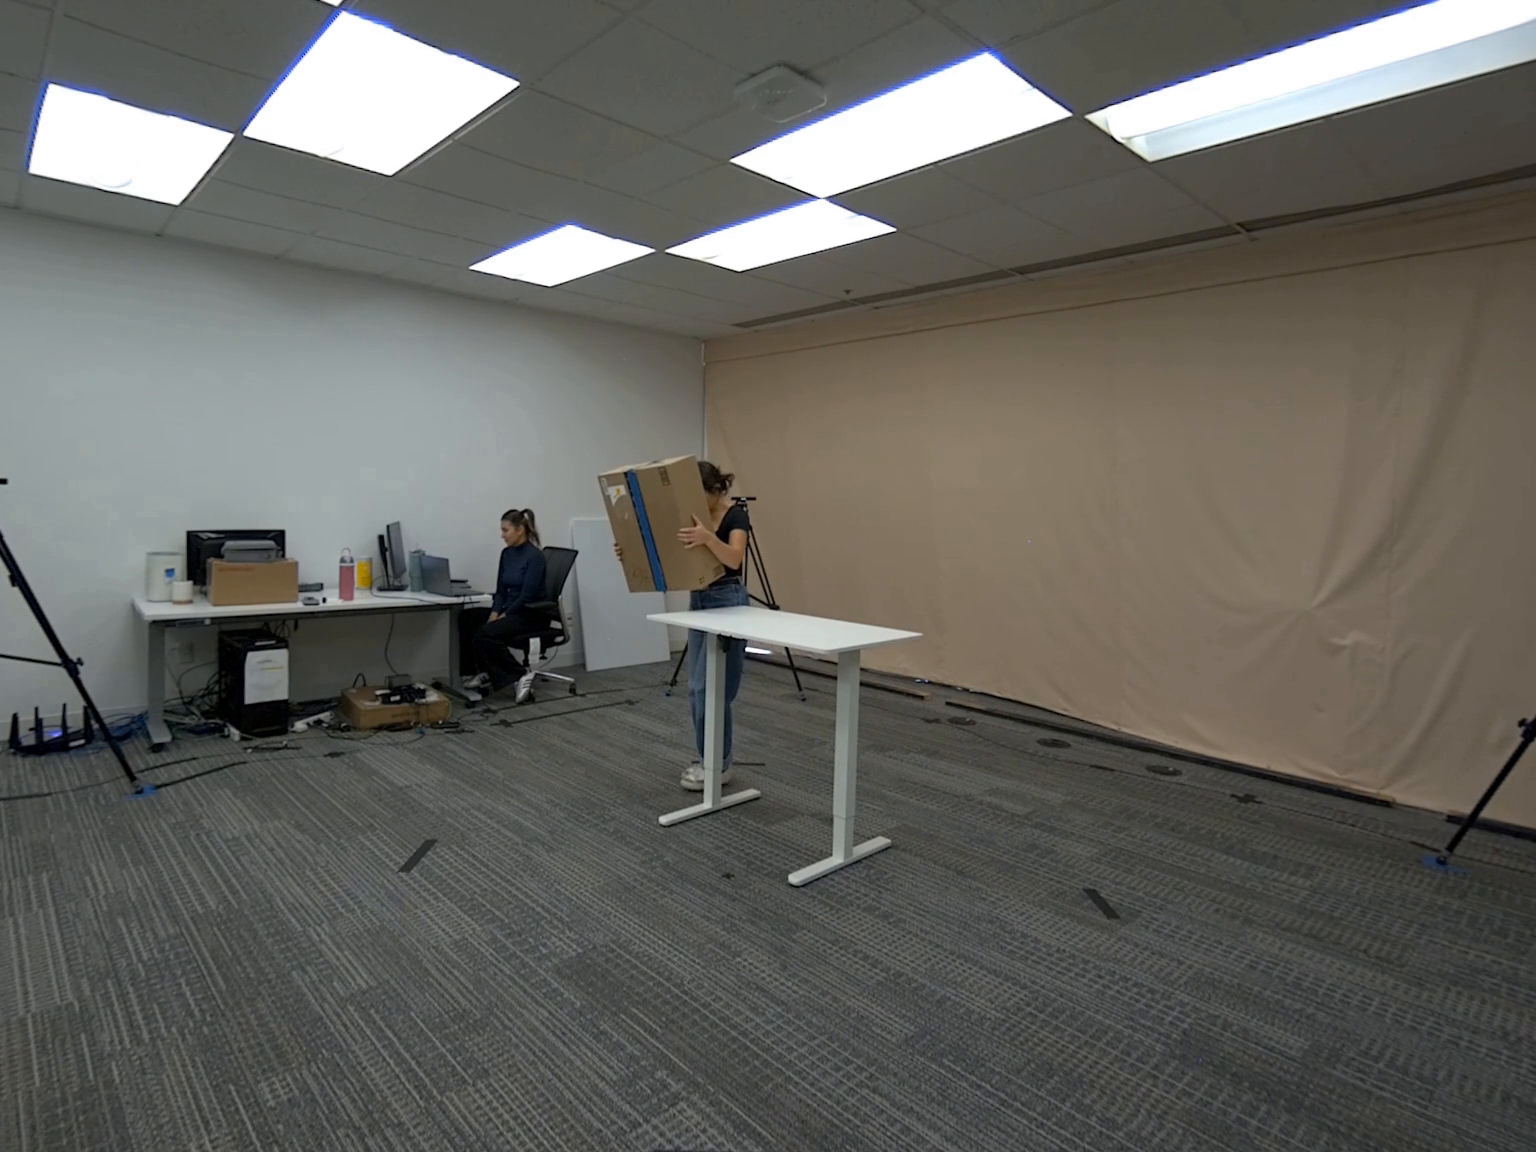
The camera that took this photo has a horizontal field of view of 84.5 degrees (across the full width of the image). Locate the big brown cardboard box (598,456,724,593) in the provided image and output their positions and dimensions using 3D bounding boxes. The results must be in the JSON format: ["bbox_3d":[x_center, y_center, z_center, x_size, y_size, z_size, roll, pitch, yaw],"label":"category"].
[{"bbox_3d":[-0.495,-0.235,3.823,0.426,0.582,0.231,-5,15,35],"label":"big brown cardboard box"}]
